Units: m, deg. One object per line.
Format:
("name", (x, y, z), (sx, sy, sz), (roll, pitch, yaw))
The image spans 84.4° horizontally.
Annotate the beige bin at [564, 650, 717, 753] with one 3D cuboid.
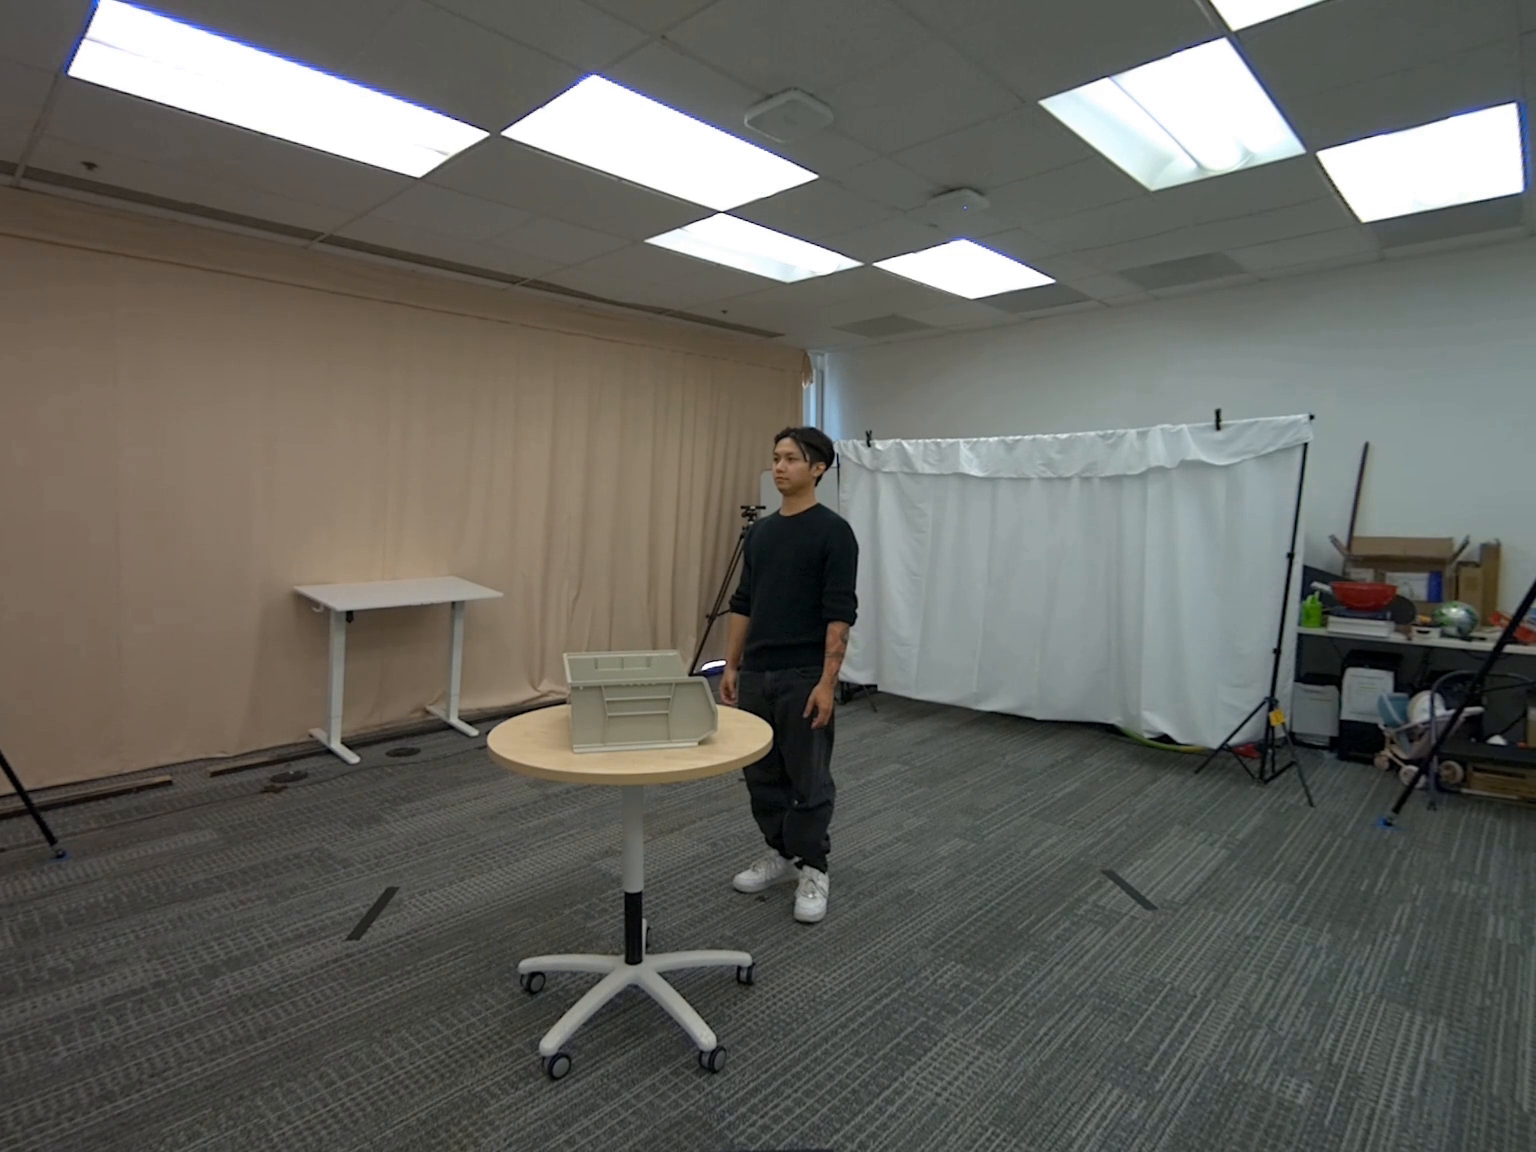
("beige bin", (-0.359, 0.330, 2.301), (0.372, 0.188, 0.429), (-2, 5, -14))
